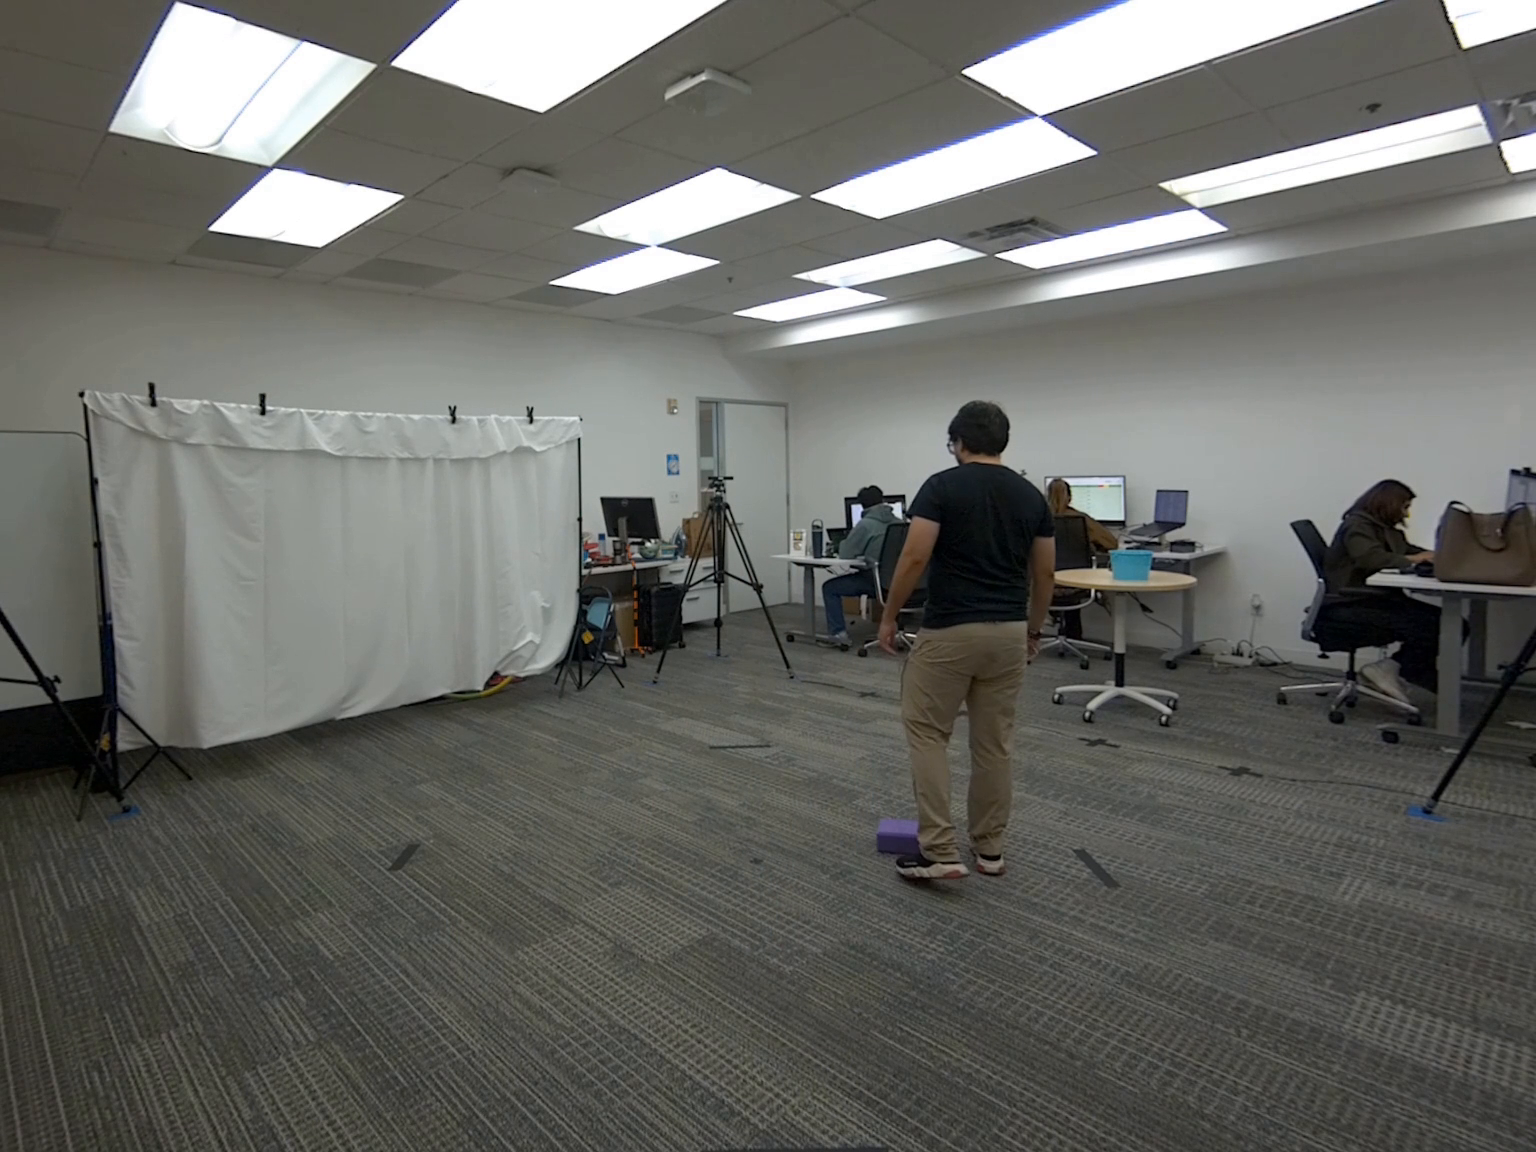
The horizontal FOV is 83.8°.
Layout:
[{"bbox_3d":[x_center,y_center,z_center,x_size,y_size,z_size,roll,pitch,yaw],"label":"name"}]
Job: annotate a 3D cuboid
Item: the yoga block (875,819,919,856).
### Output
[{"bbox_3d":[0.531,0.977,3.194,0.233,0.076,0.147,0,6,16],"label":"yoga block"}]
